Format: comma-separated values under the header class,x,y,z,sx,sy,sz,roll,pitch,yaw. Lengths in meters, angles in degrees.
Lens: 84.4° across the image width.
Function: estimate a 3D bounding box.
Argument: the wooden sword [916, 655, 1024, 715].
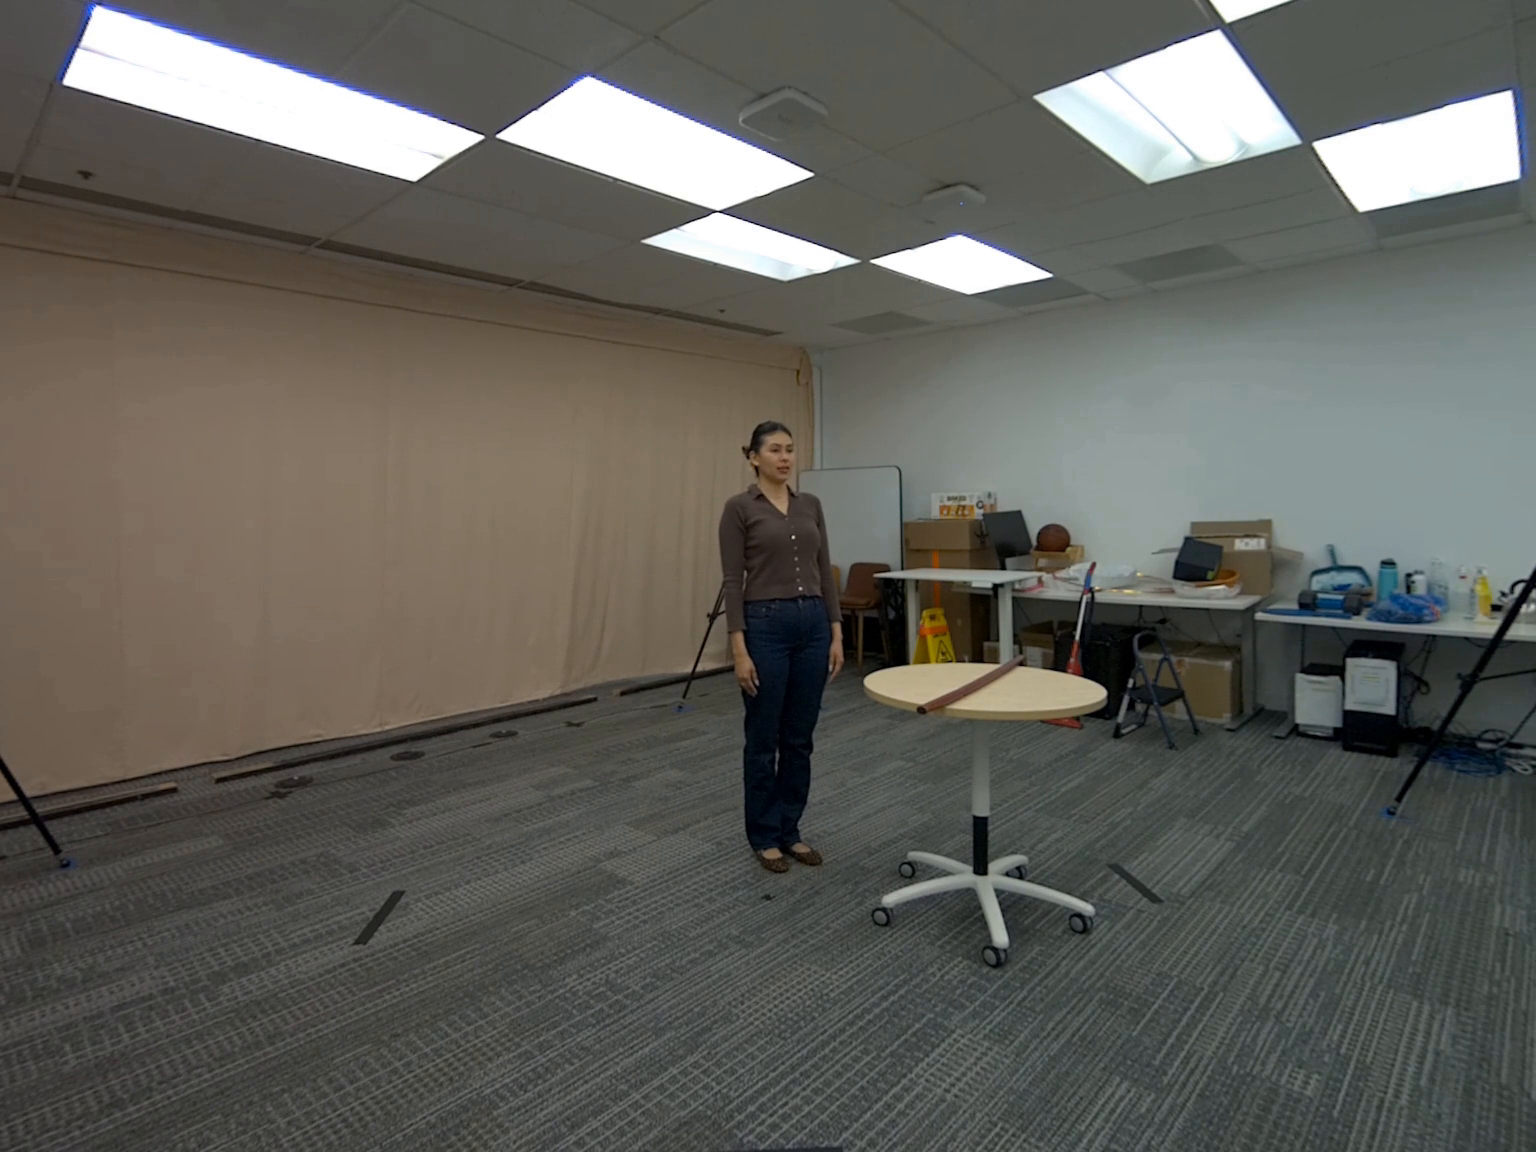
class,x,y,z,sx,sy,sz,roll,pitch,yaw
wooden sword,0.717,0.359,2.773,0.025,0.051,0.996,39,23,24
